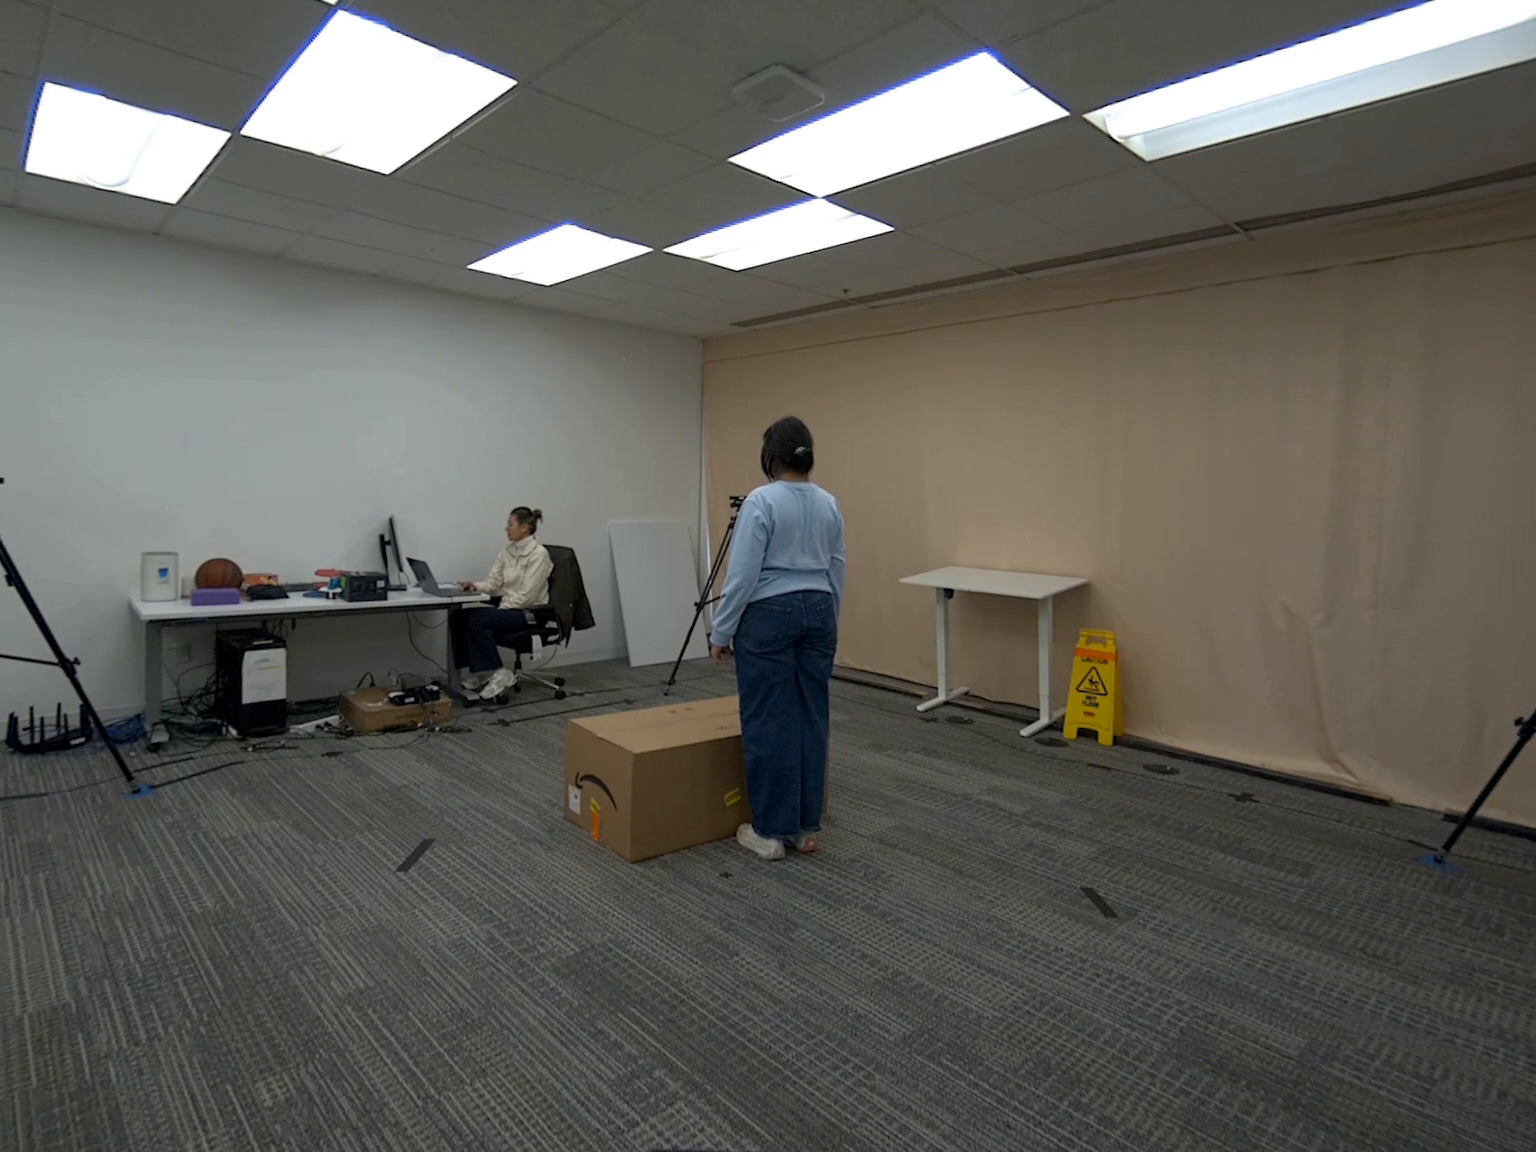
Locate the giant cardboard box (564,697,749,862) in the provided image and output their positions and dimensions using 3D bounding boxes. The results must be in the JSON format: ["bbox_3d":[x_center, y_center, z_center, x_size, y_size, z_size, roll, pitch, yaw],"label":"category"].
[{"bbox_3d":[-0.309,0.834,3.700,1.003,0.425,0.592,-2,5,-38],"label":"giant cardboard box"}]
